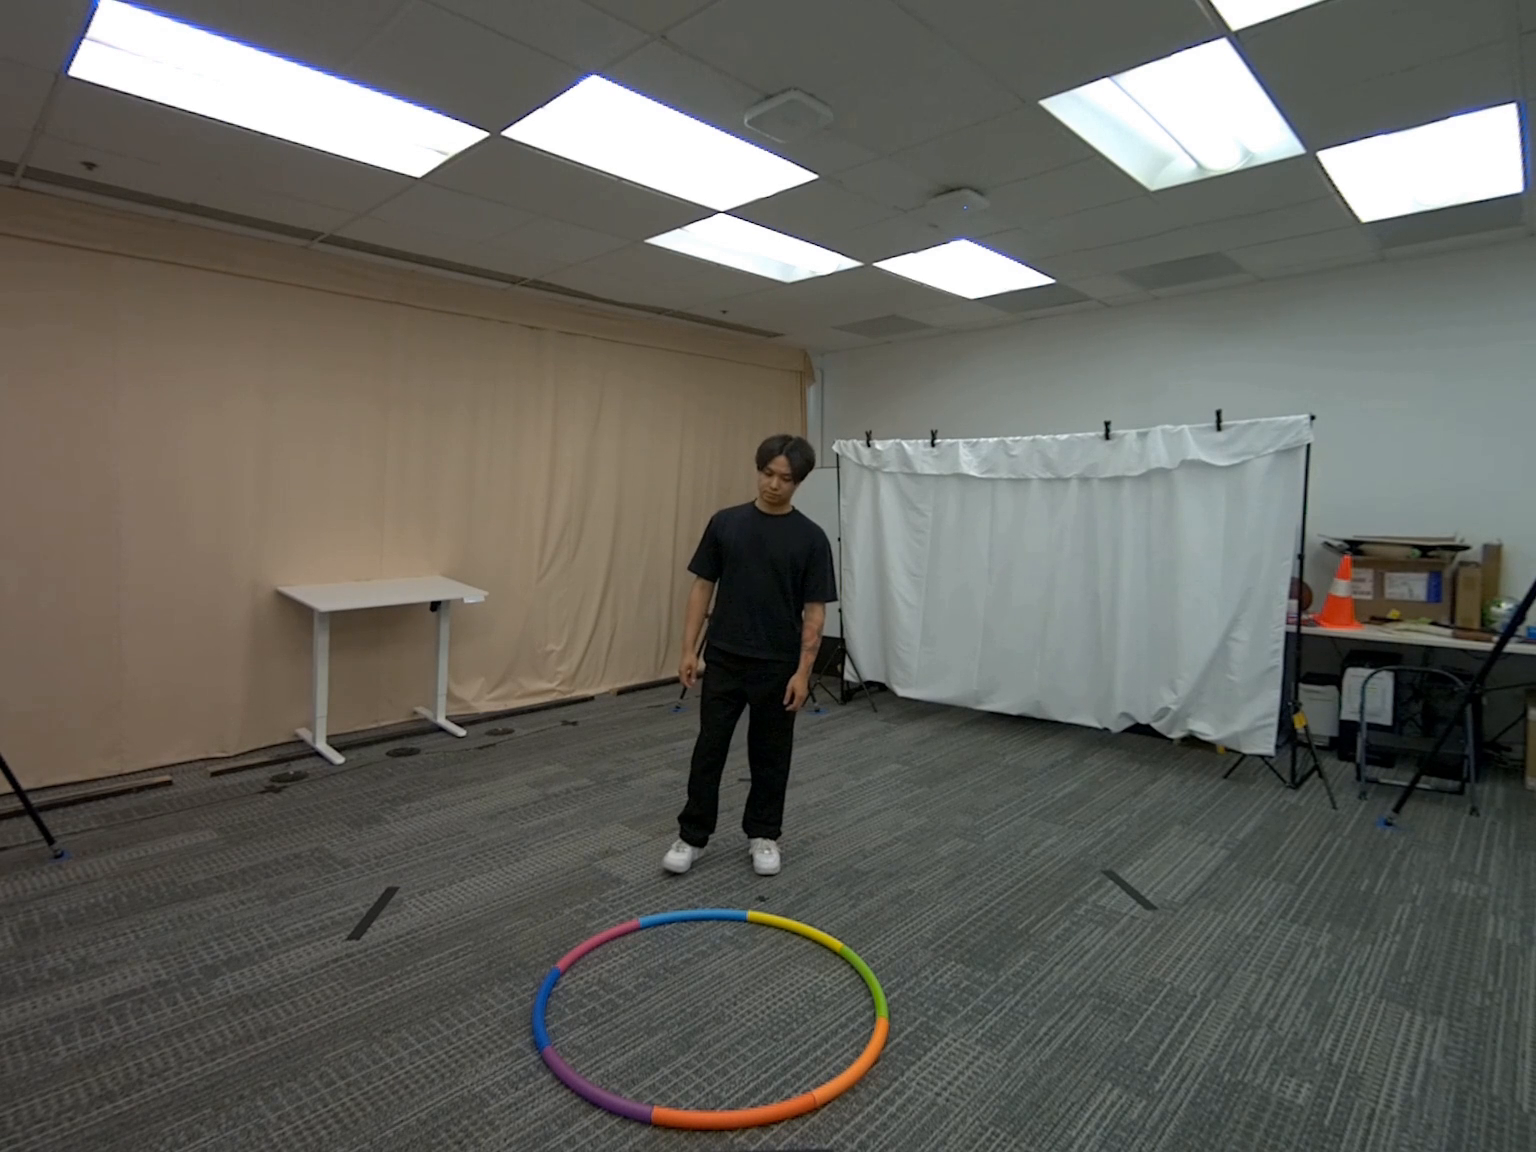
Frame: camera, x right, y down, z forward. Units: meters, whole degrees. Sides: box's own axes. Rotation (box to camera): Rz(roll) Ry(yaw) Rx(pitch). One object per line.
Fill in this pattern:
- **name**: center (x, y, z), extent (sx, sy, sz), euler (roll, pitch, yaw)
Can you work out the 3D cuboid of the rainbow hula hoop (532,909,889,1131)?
- **rainbow hula hoop**: center (-0.157, 1.170, 2.362), extent (0.978, 0.035, 0.982), euler (0, 5, -2)
